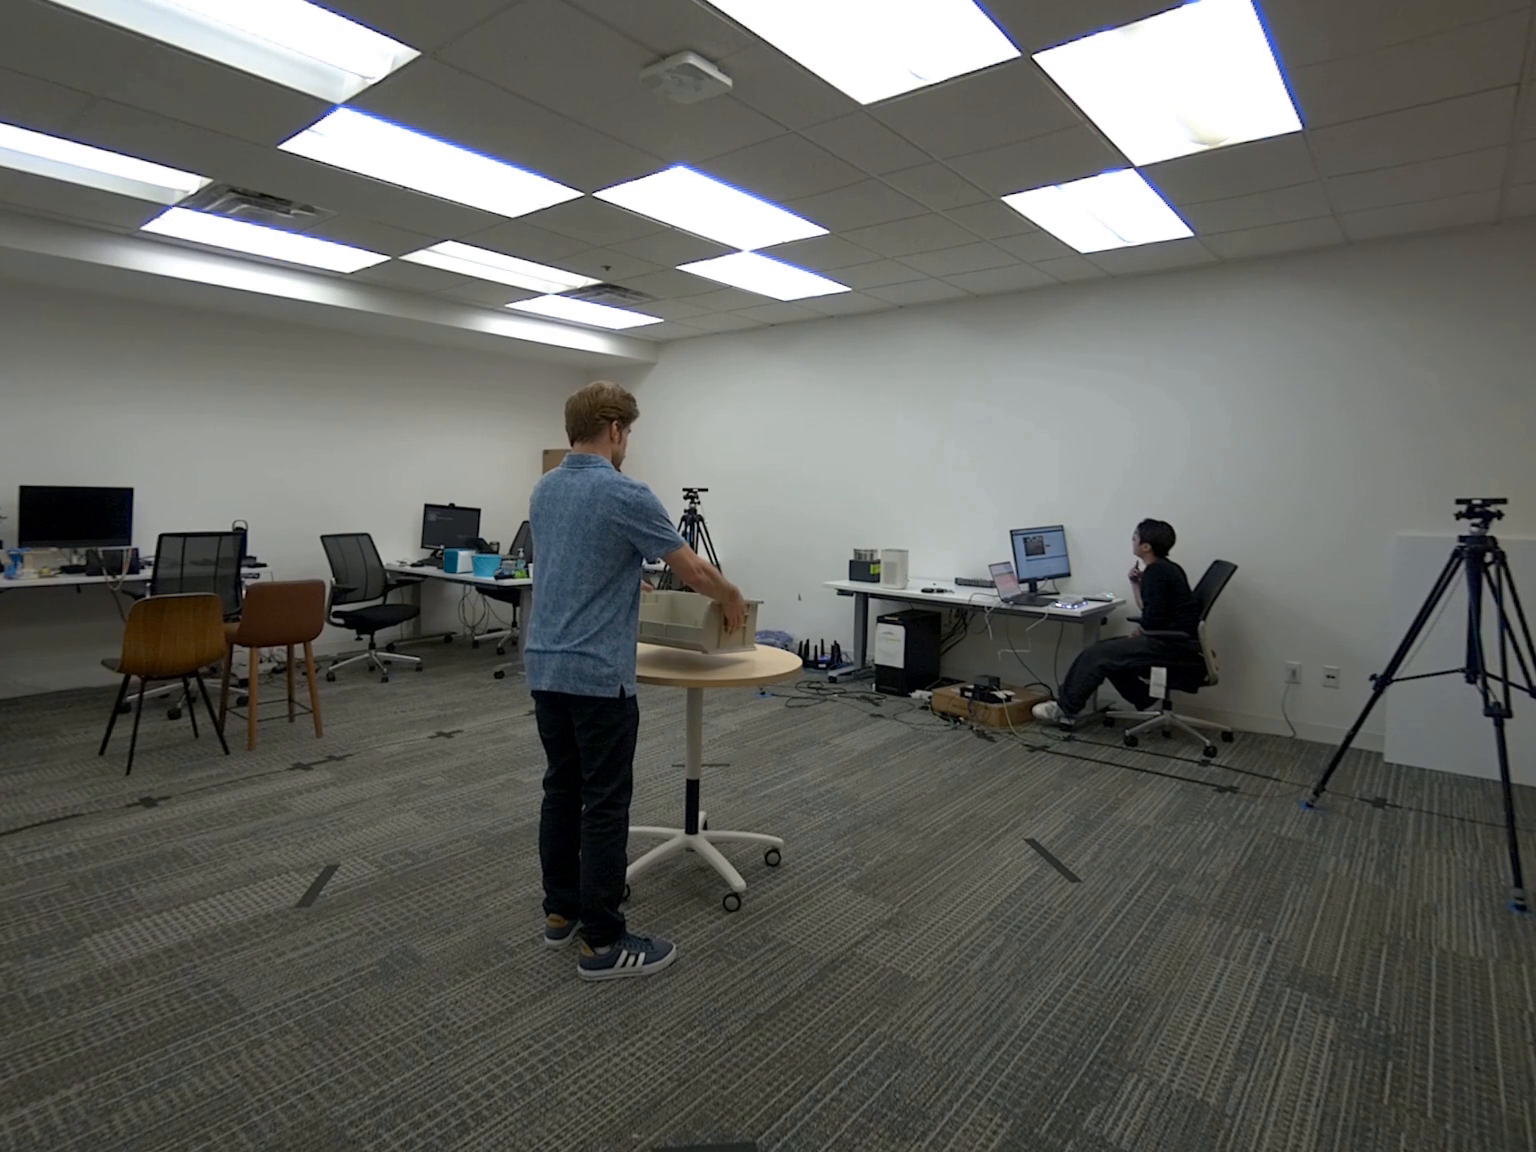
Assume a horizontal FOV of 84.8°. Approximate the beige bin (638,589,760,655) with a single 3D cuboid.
[{"bbox_3d":[-0.308,0.158,3.020,0.435,0.189,0.365,4,-1,31],"label":"beige bin"}]
